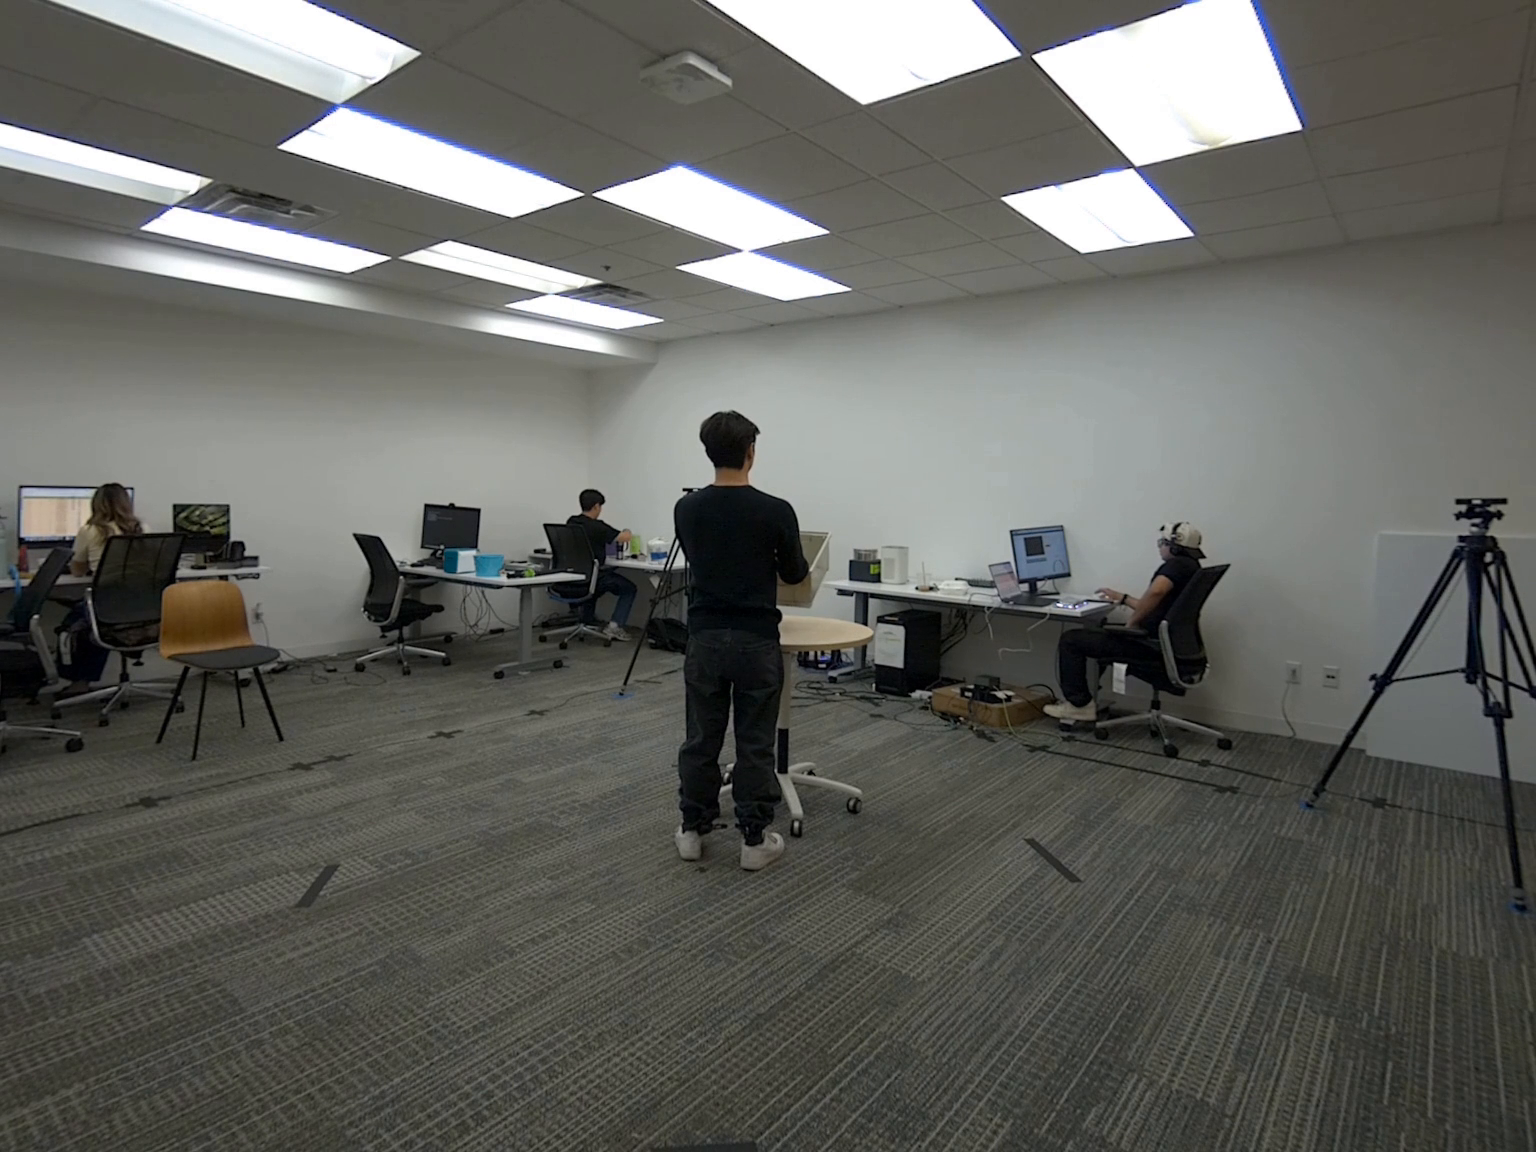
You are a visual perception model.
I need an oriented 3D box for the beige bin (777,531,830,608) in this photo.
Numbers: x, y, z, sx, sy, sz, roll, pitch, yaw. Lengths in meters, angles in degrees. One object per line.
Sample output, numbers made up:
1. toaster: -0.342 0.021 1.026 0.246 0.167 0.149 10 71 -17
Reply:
1. beige bin: 0.060 -0.043 3.819 0.385 0.185 0.424 3 25 17
